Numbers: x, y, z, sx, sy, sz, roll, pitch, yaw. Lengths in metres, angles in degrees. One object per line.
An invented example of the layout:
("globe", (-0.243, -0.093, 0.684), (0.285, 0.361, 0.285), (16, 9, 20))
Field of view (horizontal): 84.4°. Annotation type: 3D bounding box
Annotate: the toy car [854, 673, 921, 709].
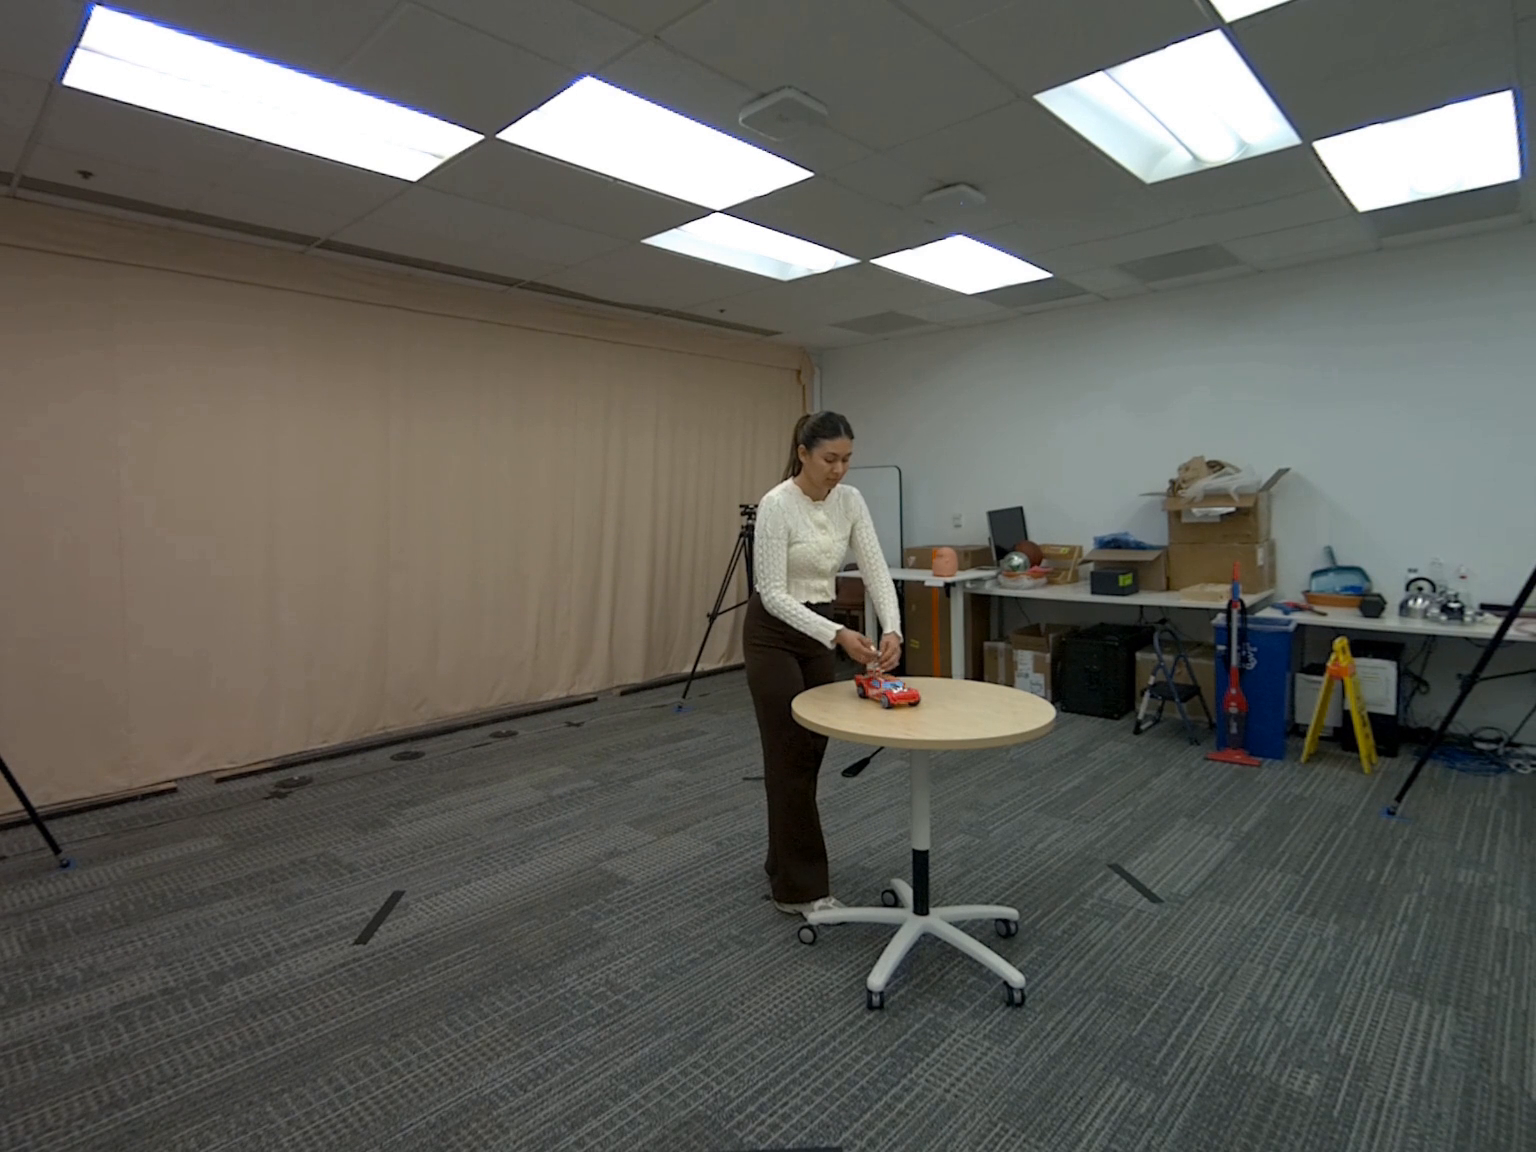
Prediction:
("toy car", (0.363, 0.352, 2.584), (0.128, 0.082, 0.262), (-4, 16, -21))
